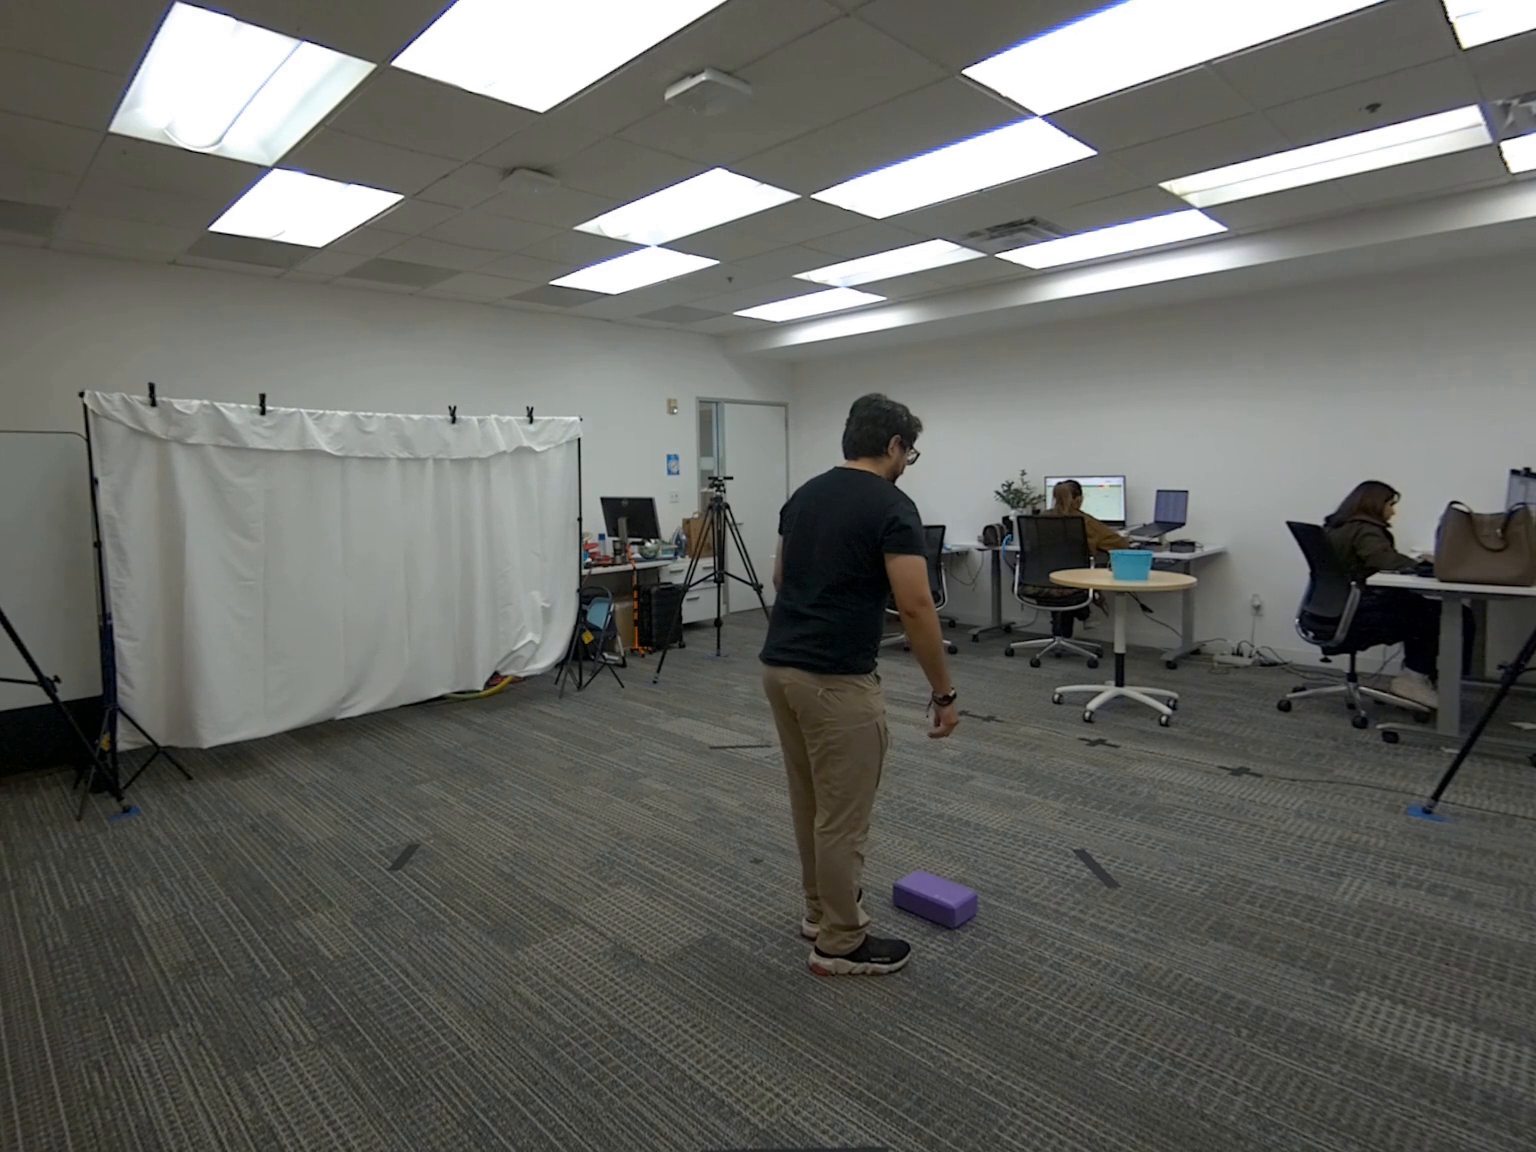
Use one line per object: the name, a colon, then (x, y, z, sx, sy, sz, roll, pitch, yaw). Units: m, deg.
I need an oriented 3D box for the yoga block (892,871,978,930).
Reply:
yoga block: (0.533, 1.028, 2.728, 0.145, 0.076, 0.236, -6, 8, -44)
